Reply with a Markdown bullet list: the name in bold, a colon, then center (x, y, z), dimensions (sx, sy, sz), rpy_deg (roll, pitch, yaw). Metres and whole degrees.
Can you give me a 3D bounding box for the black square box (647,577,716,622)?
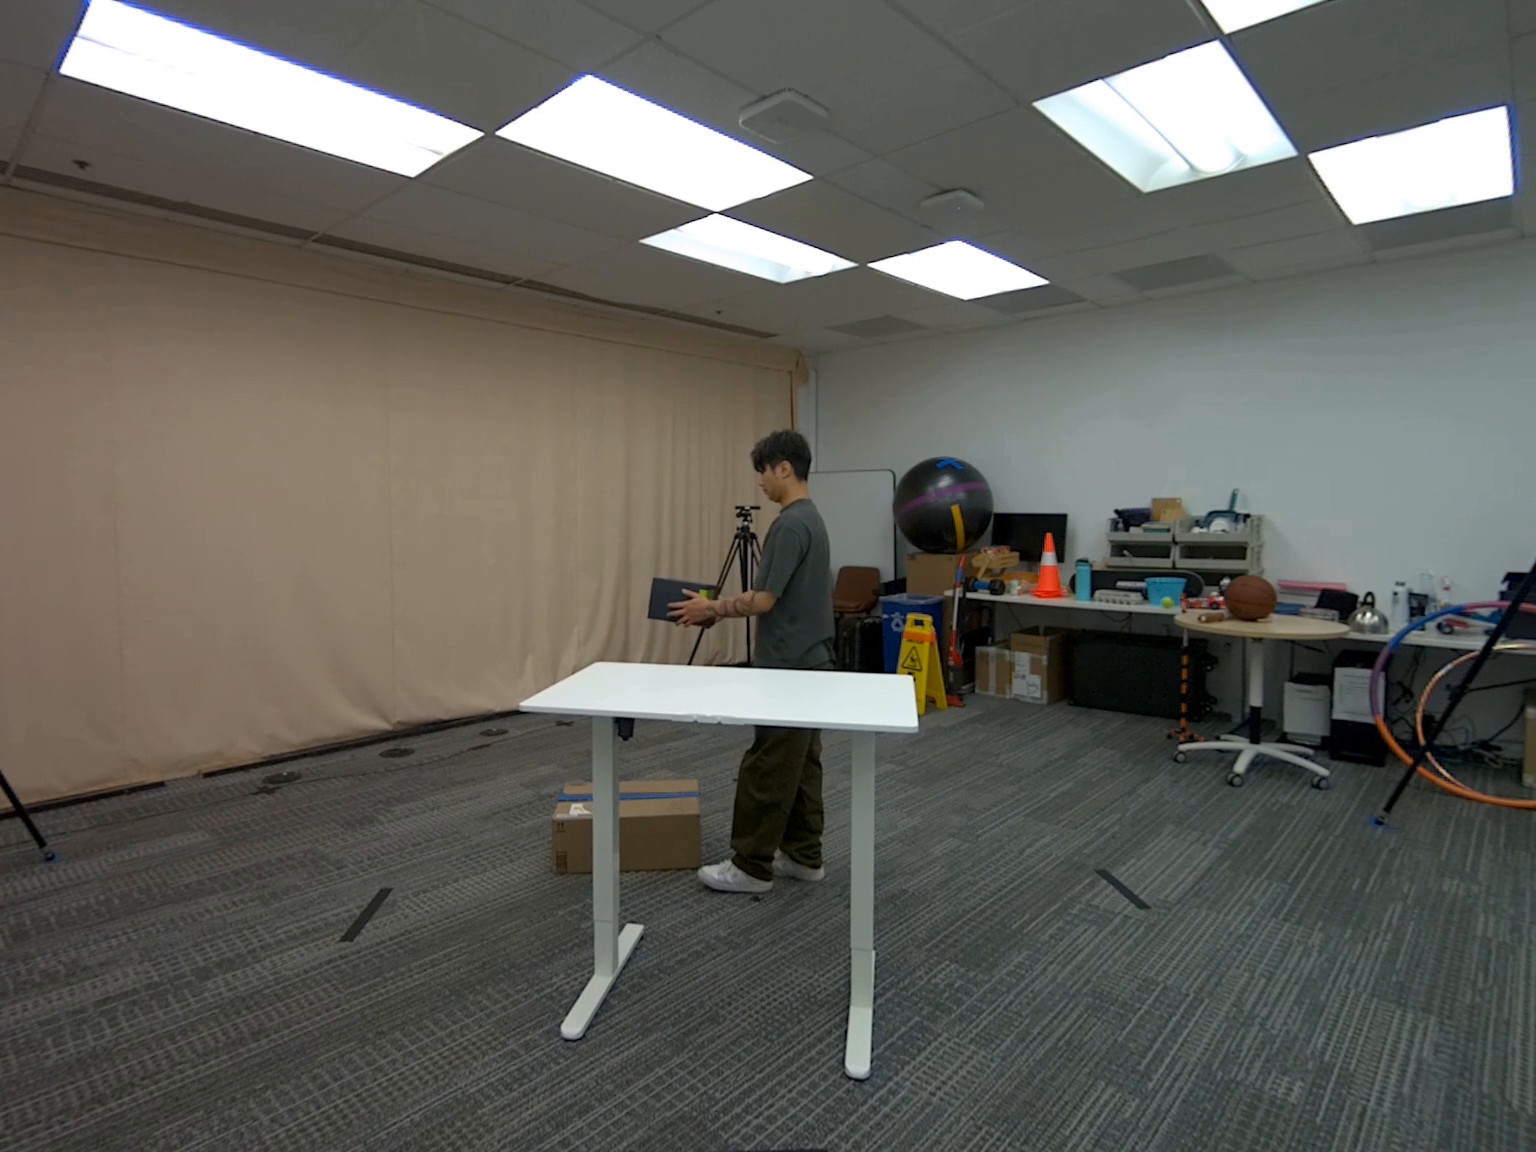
- **black square box**: center (-0.326, 0.094, 3.230), dimensions (0.219, 0.156, 0.226), rpy_deg (7, 0, 6)
